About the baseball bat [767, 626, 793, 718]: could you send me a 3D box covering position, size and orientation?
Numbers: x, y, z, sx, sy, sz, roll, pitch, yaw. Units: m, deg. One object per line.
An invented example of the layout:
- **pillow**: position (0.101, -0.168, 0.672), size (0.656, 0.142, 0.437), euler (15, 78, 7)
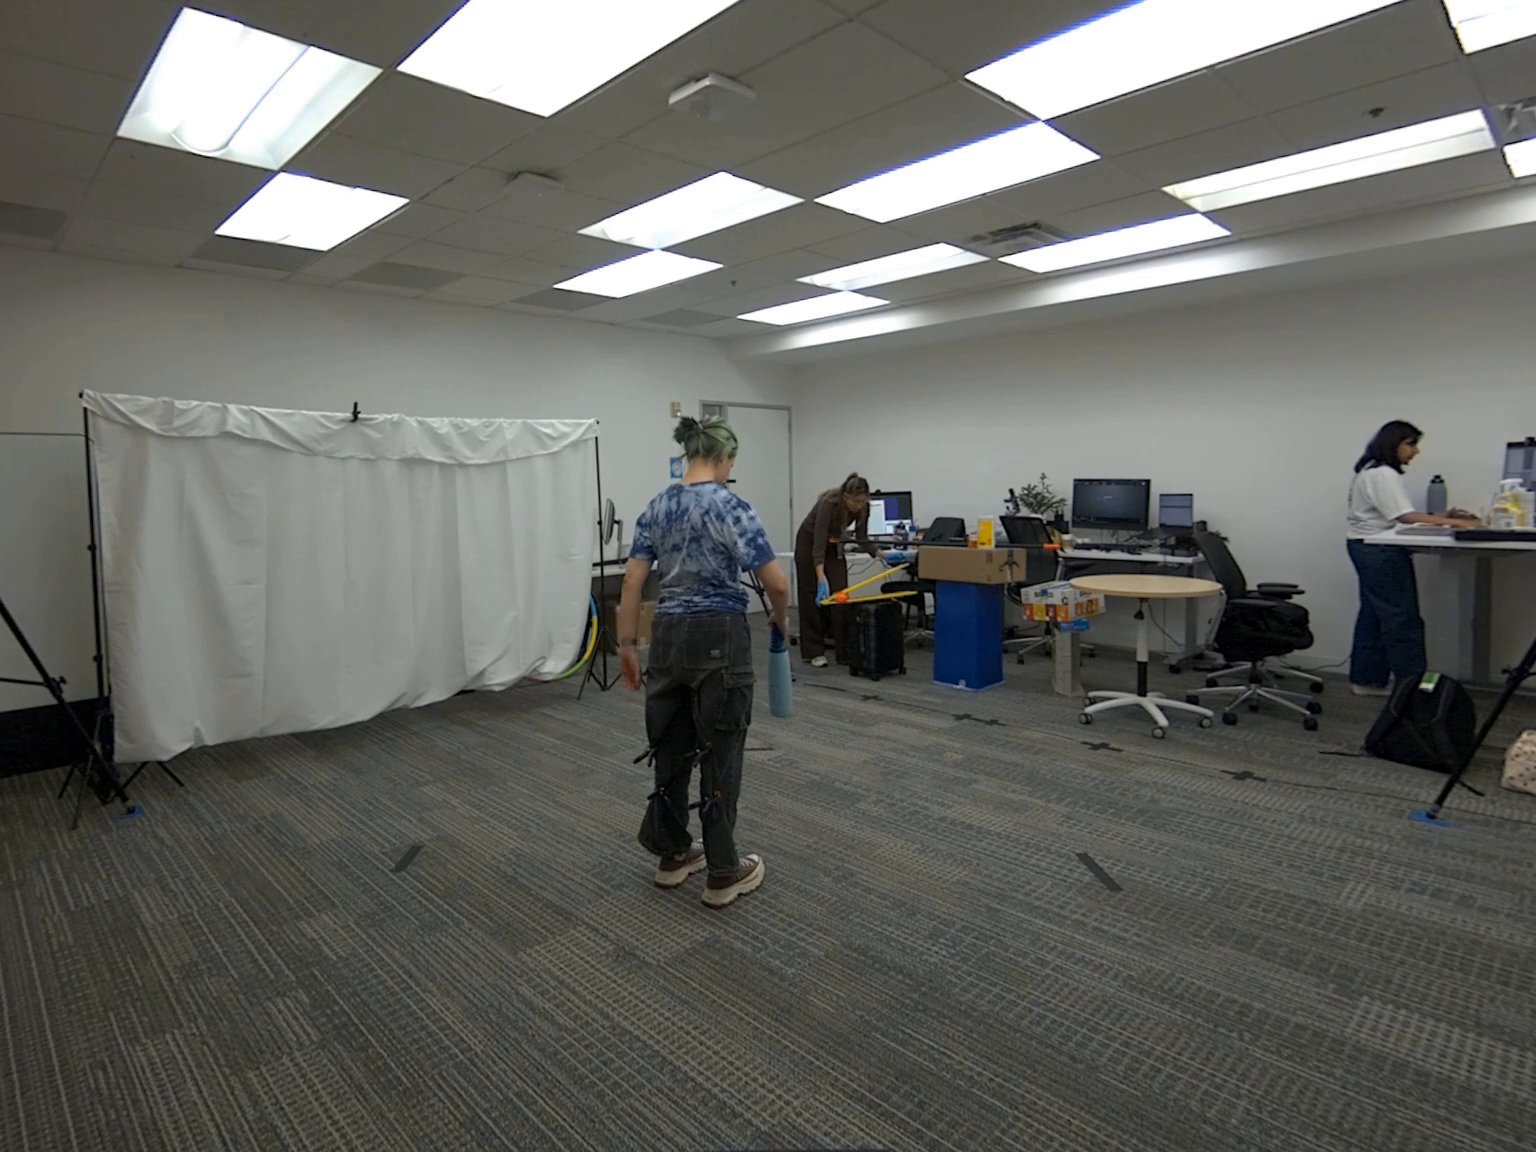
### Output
- **baseball bat**: position (0.038, 0.258, 3.102), size (0.089, 0.536, 0.090), euler (-6, 12, 0)
